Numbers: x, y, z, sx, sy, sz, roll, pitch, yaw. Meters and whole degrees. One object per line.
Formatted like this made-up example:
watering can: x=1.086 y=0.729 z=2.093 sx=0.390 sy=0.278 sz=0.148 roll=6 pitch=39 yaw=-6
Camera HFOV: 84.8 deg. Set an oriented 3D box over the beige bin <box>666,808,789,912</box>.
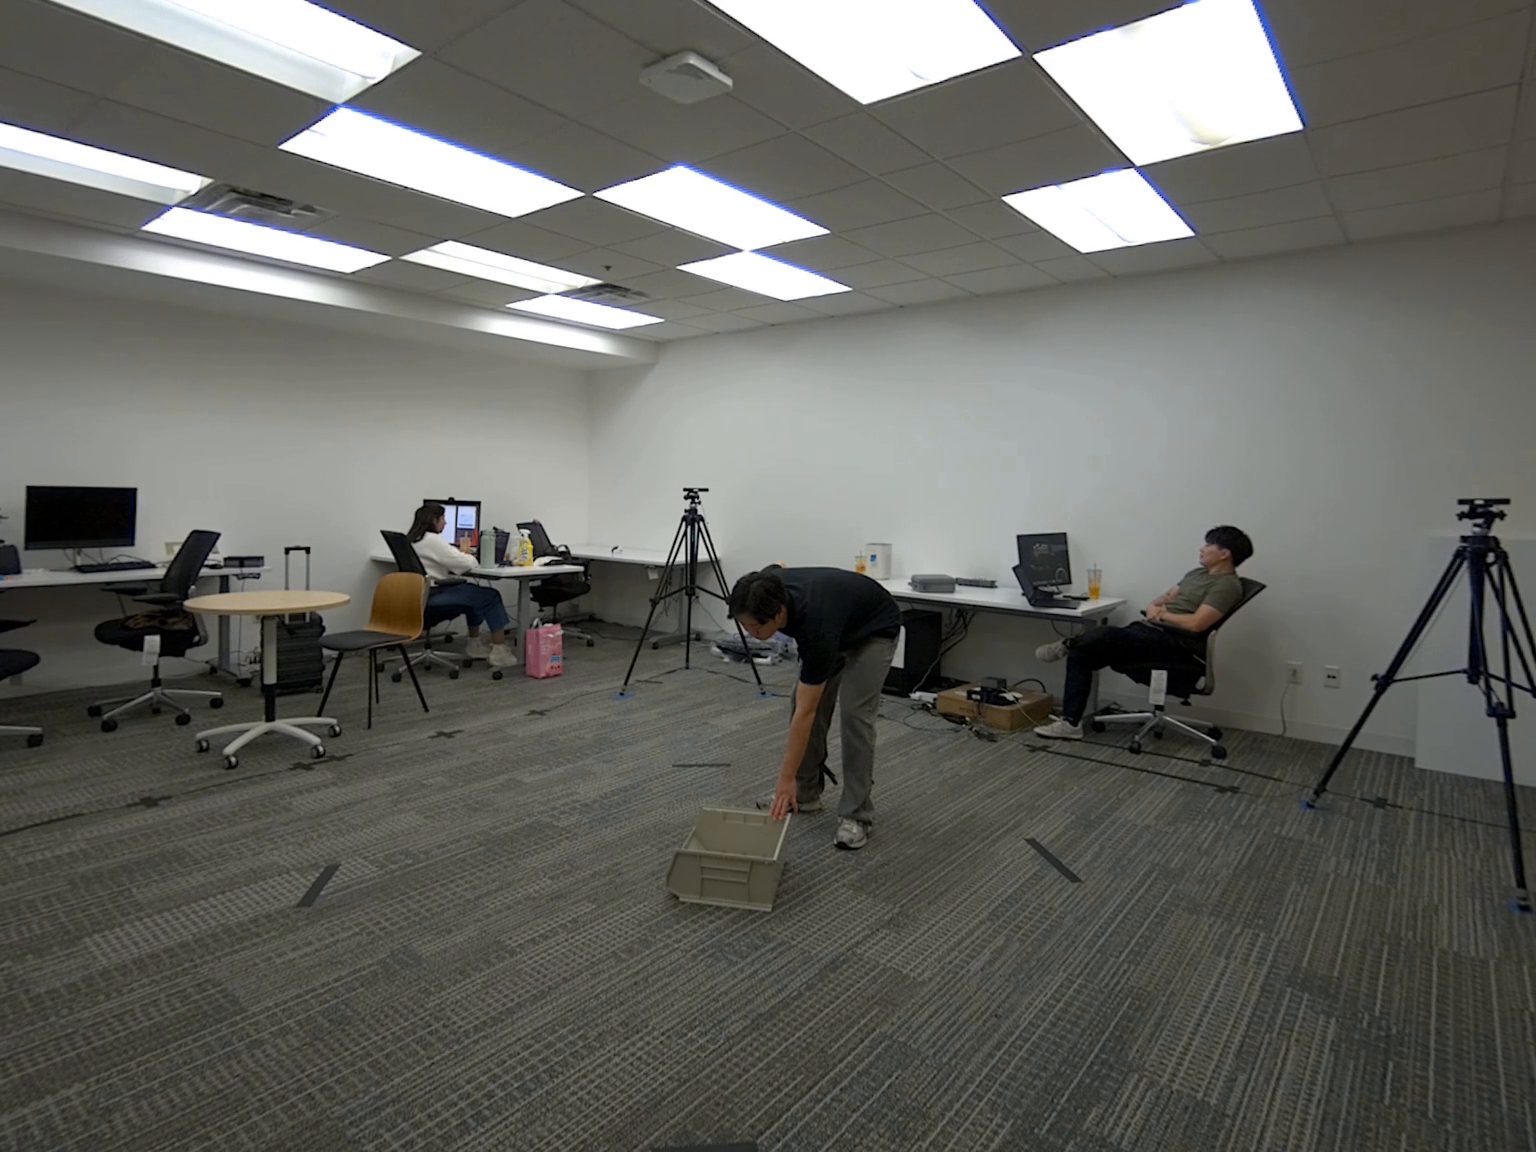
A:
beige bin: x=-0.141 y=0.992 z=3.026 sx=0.382 sy=0.188 sz=0.419 roll=3 pitch=4 yaw=9
